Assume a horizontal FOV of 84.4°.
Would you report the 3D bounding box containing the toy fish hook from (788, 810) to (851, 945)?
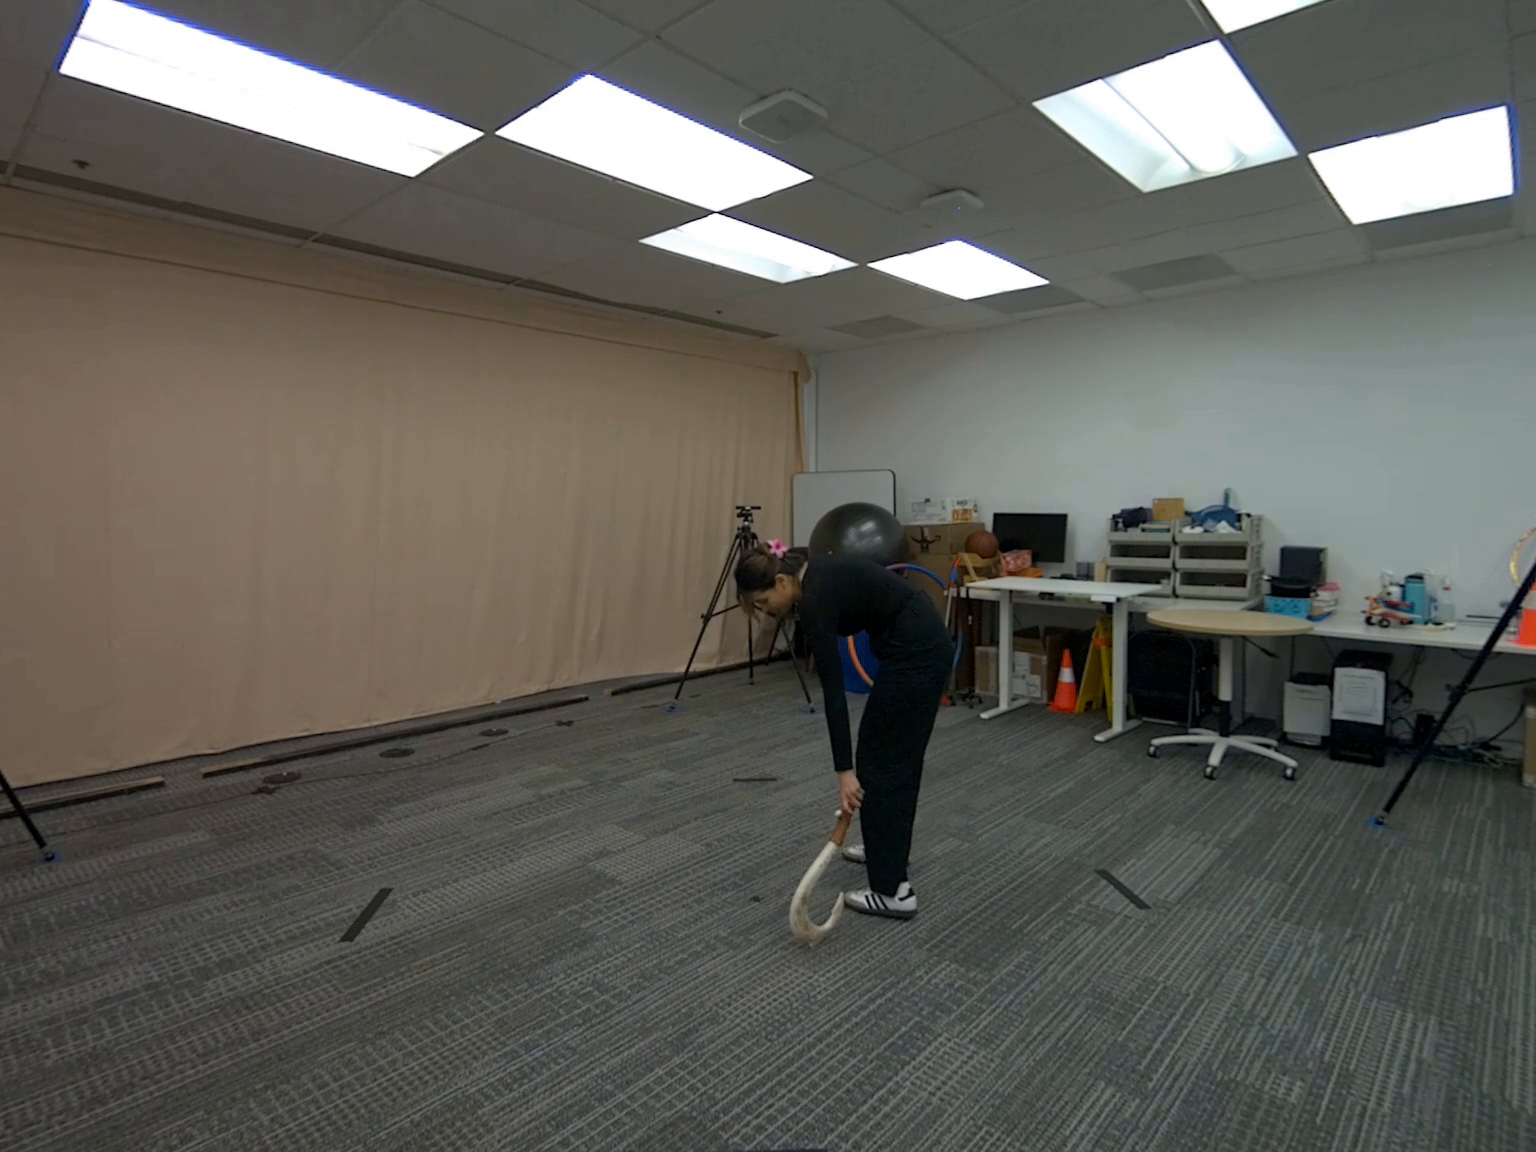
[{"bbox_3d":[0.220,0.940,2.738,0.050,0.507,0.217,2,-34,46],"label":"toy fish hook"}]
